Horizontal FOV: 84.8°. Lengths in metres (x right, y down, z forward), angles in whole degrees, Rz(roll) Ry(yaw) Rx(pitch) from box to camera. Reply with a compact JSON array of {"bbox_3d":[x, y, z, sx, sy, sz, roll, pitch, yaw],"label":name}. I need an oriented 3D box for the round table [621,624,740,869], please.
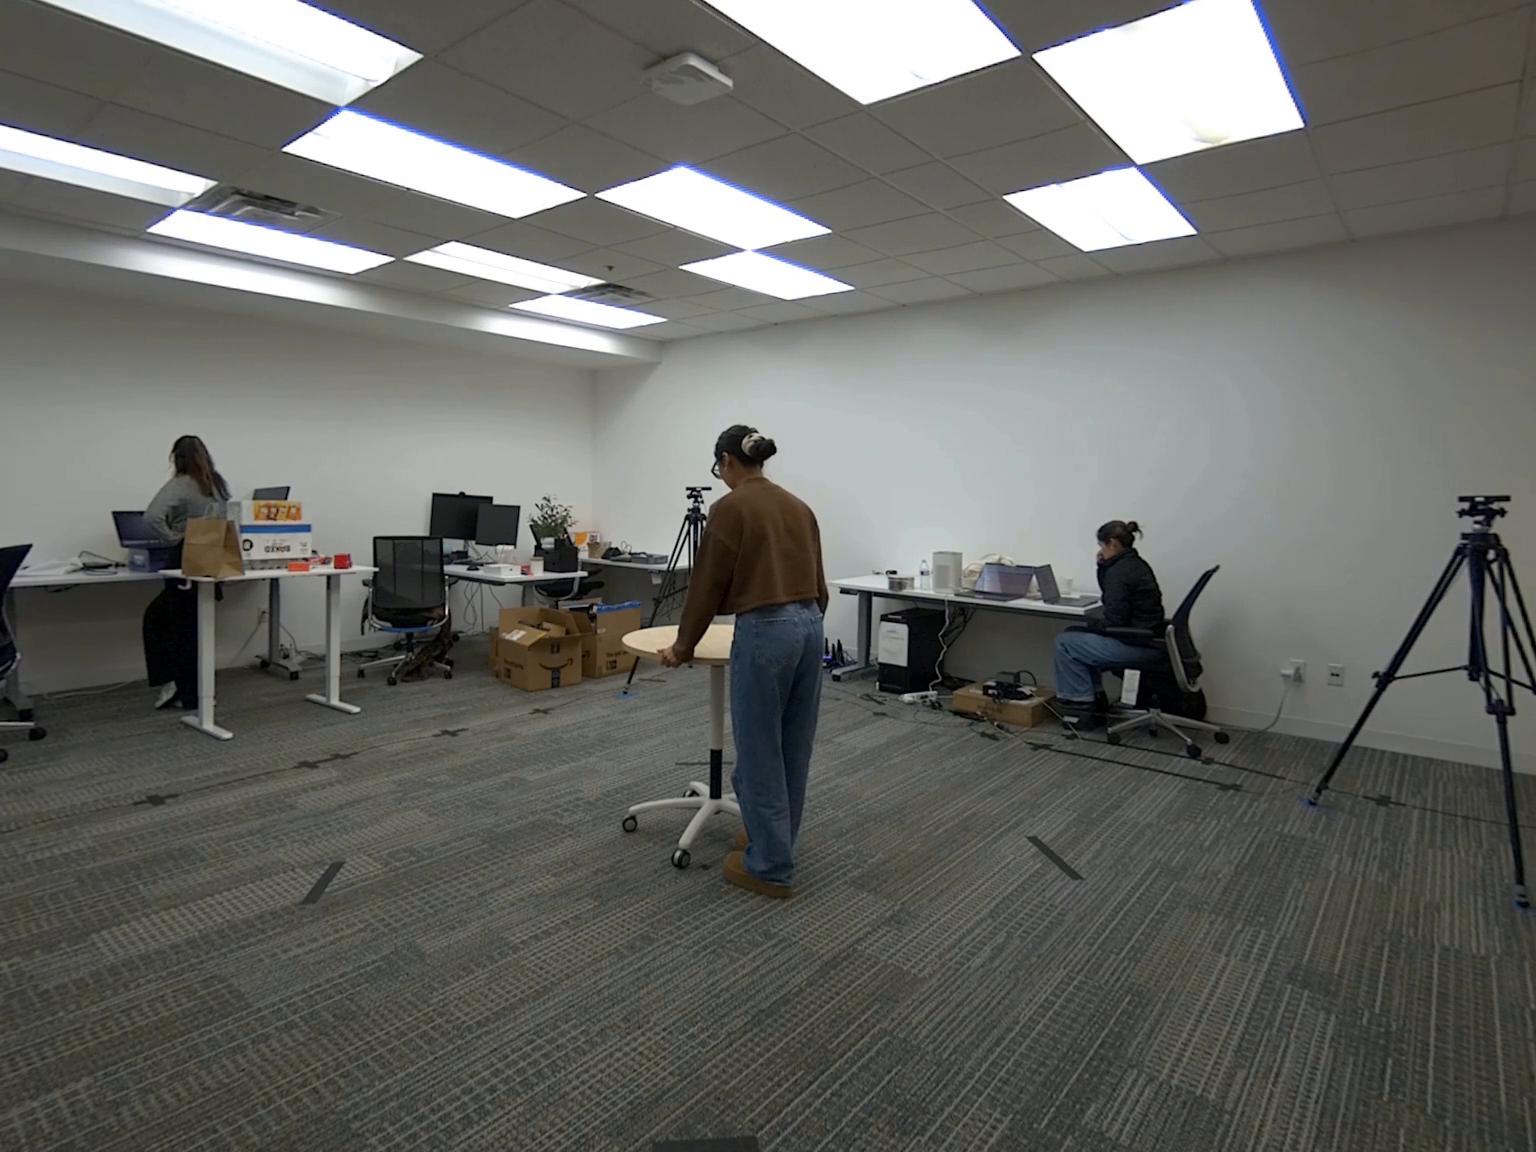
[{"bbox_3d":[-0.222,0.644,3.422,0.763,0.791,0.768,1,4,-2],"label":"round table"}]
